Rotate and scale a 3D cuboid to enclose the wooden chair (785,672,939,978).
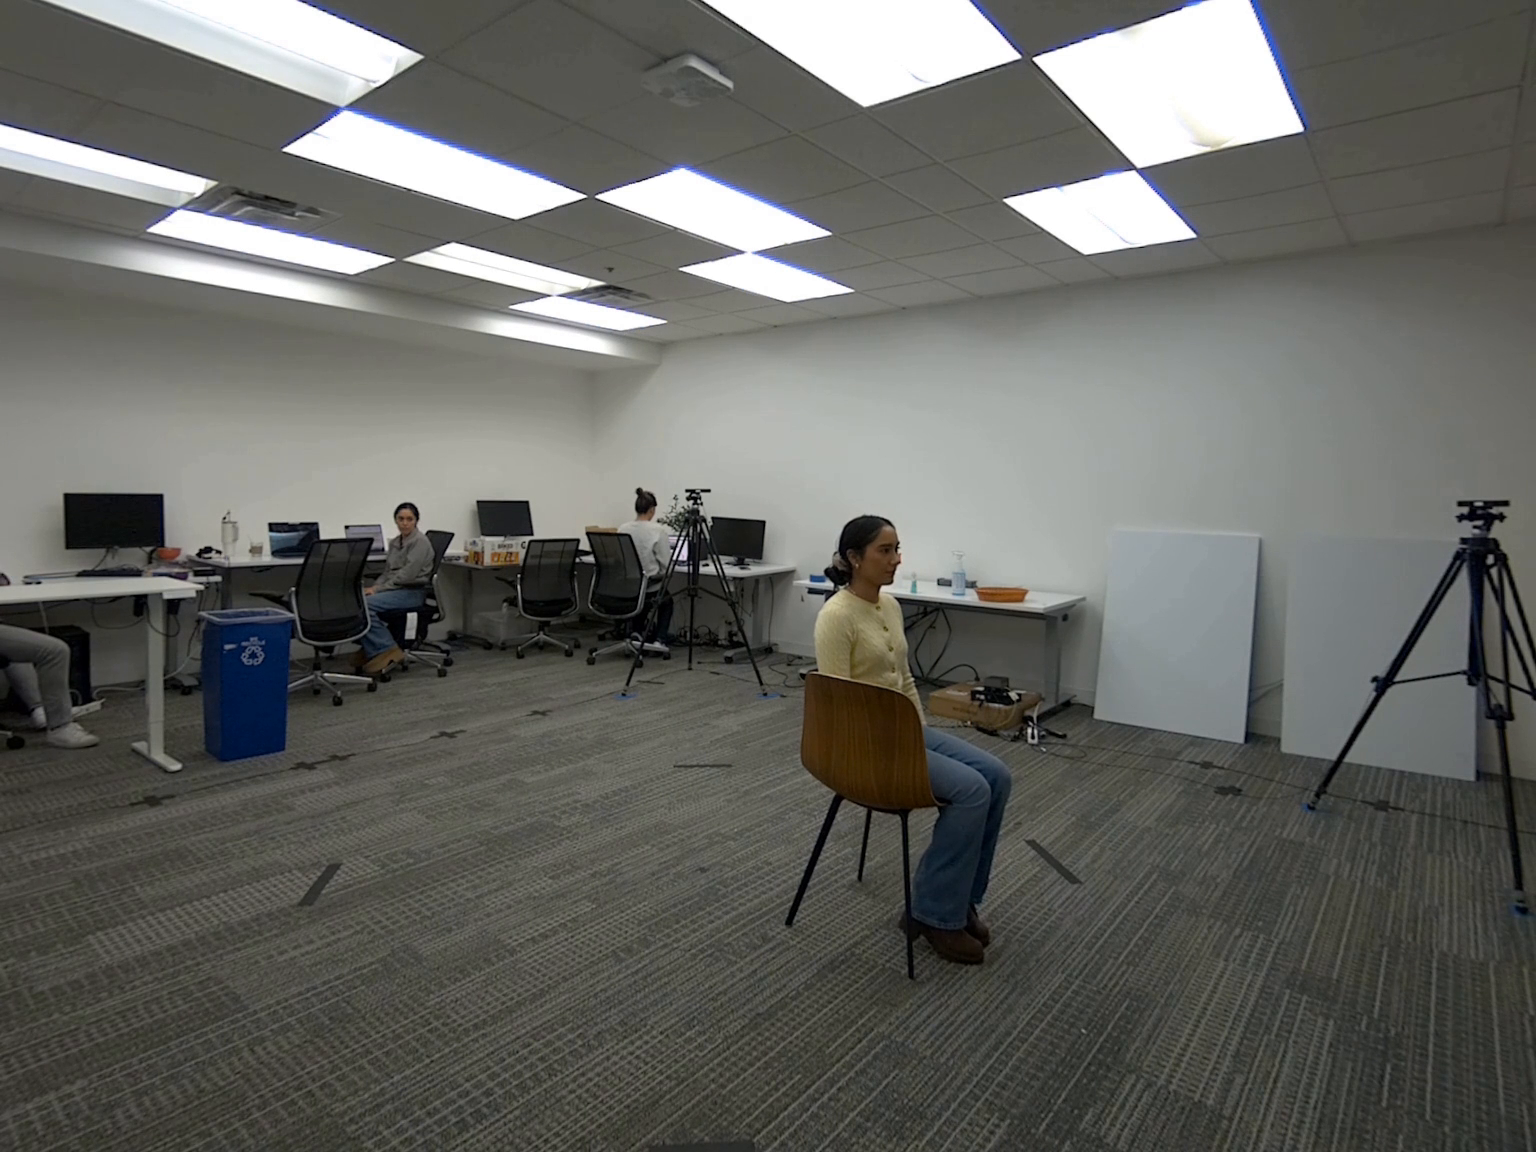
[{"bbox_3d":[0.375,0.699,2.734,0.494,0.872,0.509,5,9,38],"label":"wooden chair"}]
